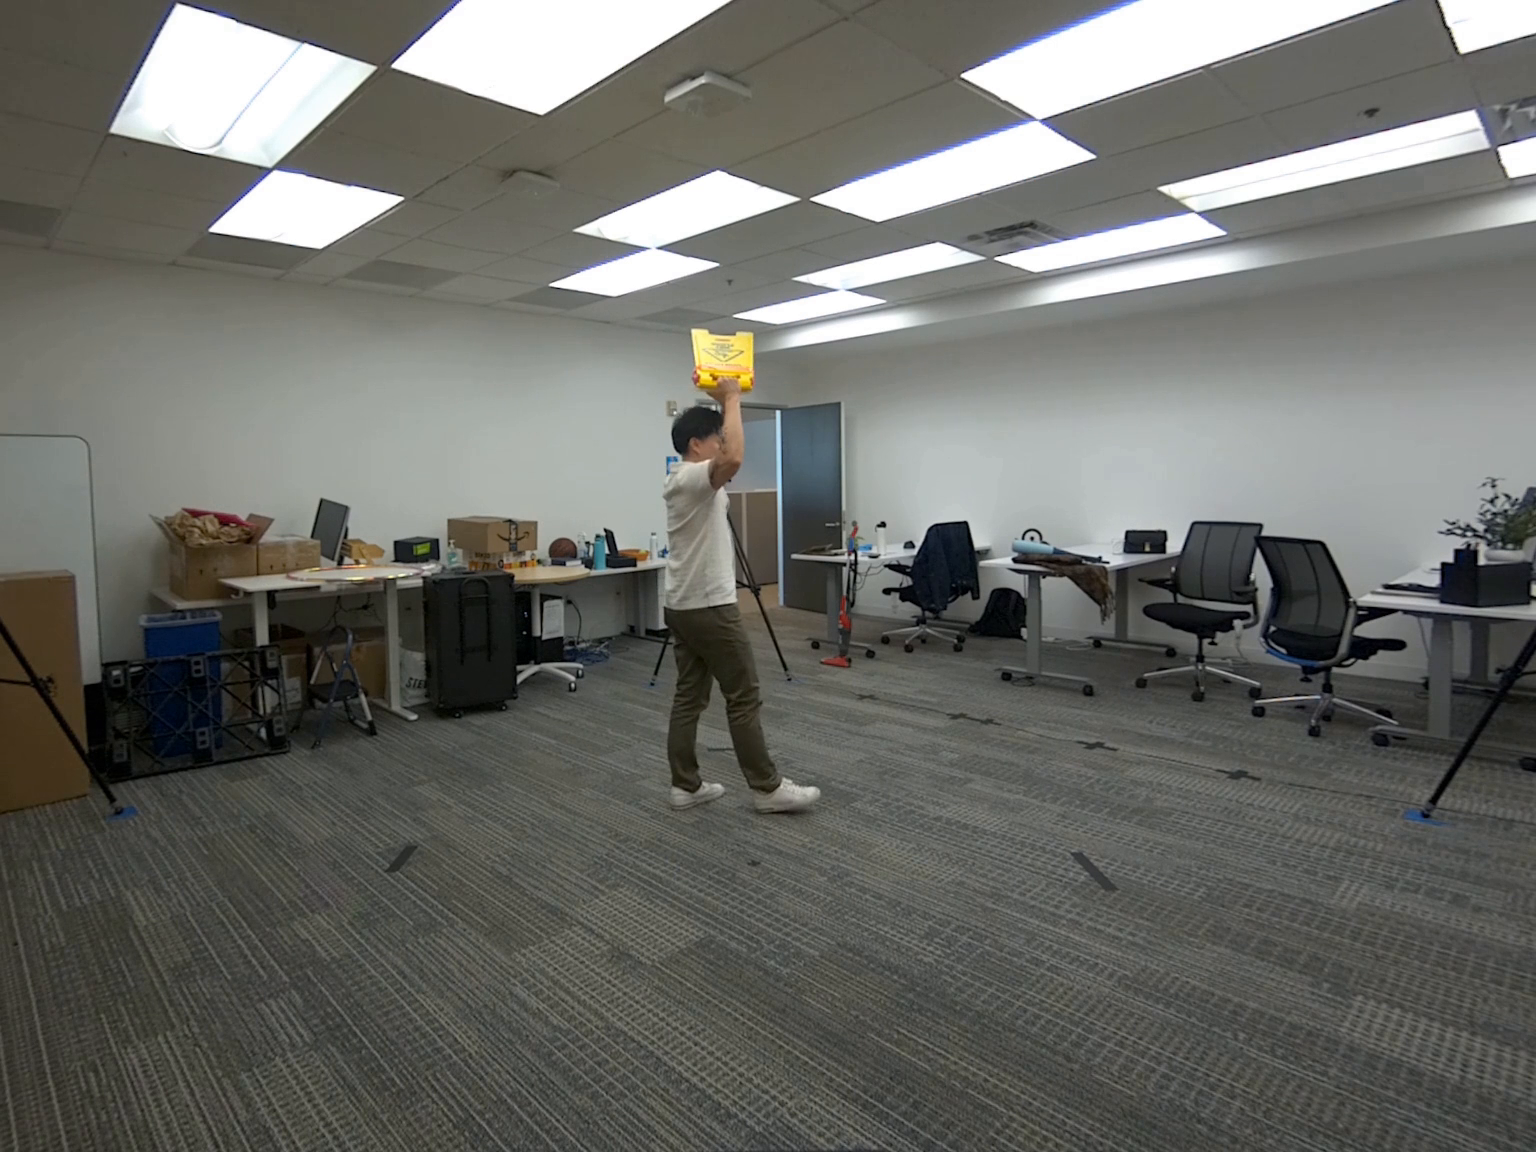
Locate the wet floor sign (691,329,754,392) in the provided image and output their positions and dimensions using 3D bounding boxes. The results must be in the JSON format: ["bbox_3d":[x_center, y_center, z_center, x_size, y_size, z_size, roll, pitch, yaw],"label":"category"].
[{"bbox_3d":[-0.193,-0.856,3.590,0.281,0.285,0.658,3,20,-4],"label":"wet floor sign"}]
